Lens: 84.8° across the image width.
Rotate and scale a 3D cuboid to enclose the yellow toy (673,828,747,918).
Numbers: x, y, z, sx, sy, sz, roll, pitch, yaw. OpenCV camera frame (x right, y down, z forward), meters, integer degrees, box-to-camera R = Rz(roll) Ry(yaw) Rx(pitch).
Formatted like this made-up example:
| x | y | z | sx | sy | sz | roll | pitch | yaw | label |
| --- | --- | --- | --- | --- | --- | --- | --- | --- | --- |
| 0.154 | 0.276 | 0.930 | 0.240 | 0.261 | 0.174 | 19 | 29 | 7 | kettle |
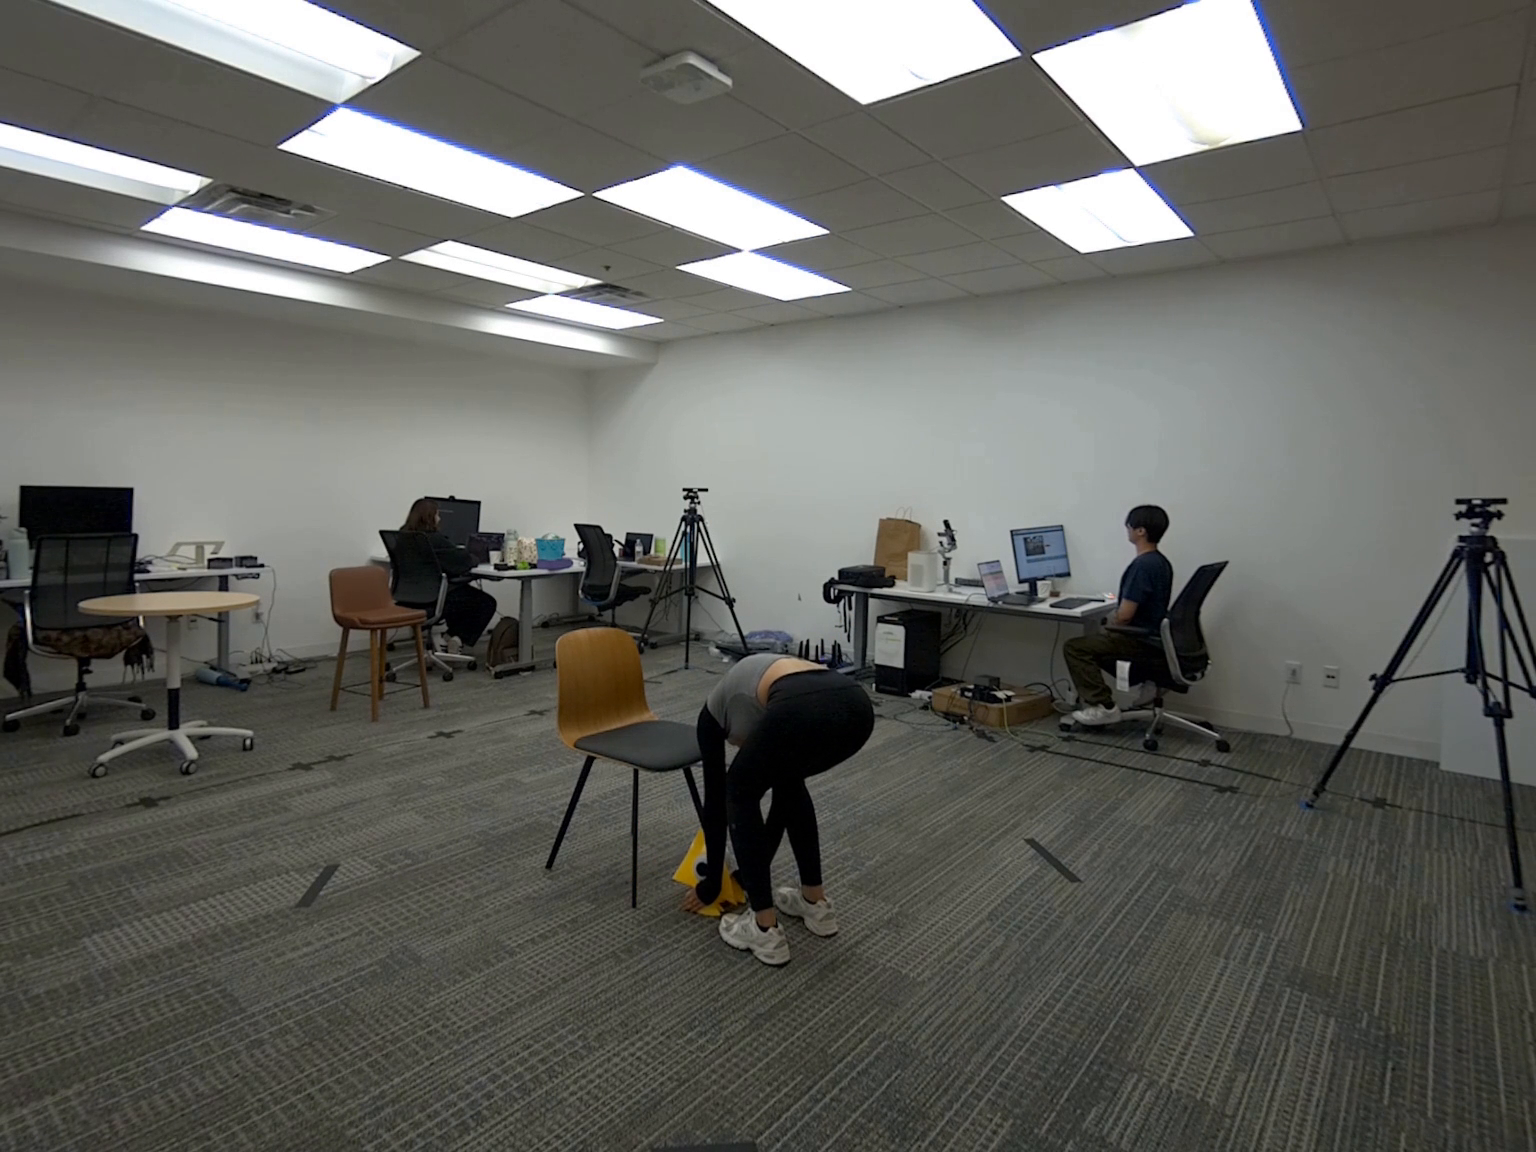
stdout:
| x | y | z | sx | sy | sz | roll | pitch | yaw | label |
| --- | --- | --- | --- | --- | --- | --- | --- | --- | --- |
| -0.198 | 0.983 | 2.871 | 0.199 | 0.230 | 0.199 | 1 | 3 | 41 | yellow toy |
